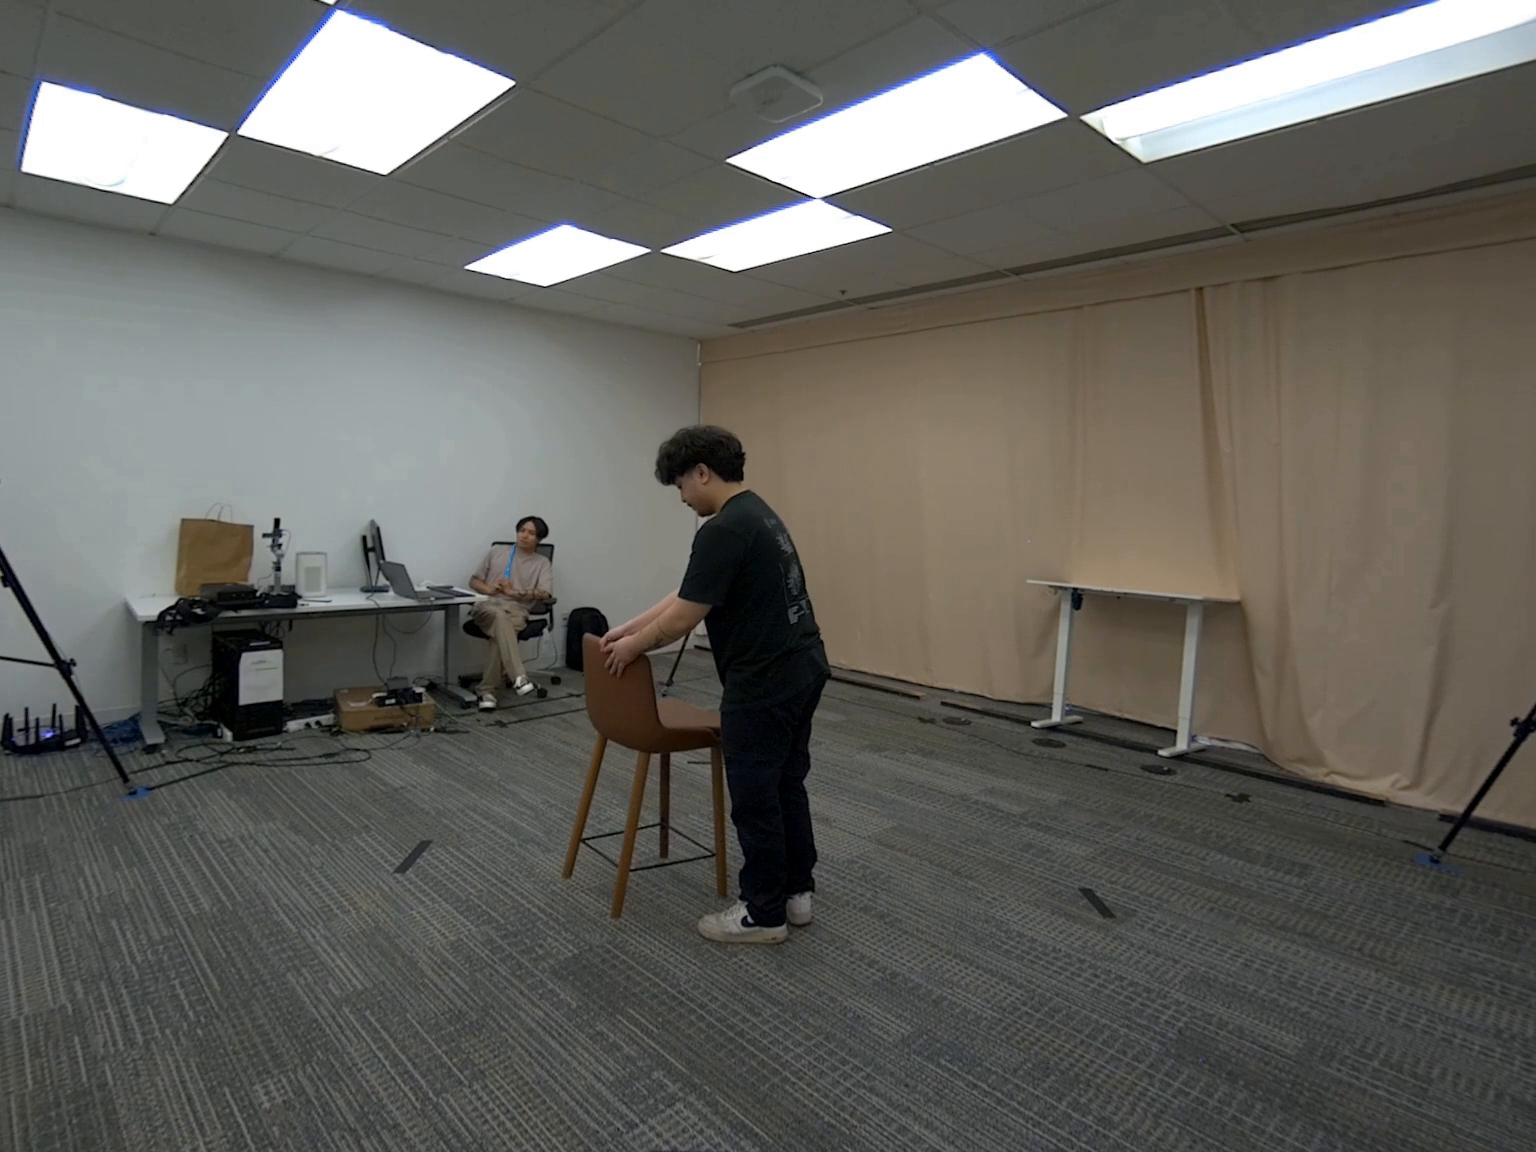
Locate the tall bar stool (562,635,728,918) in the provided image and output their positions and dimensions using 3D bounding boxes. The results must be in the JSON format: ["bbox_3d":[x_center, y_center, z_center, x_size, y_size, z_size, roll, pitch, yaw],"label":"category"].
[{"bbox_3d":[-0.419,0.661,2.966,0.456,0.889,0.468,2,2,-39],"label":"tall bar stool"}]
